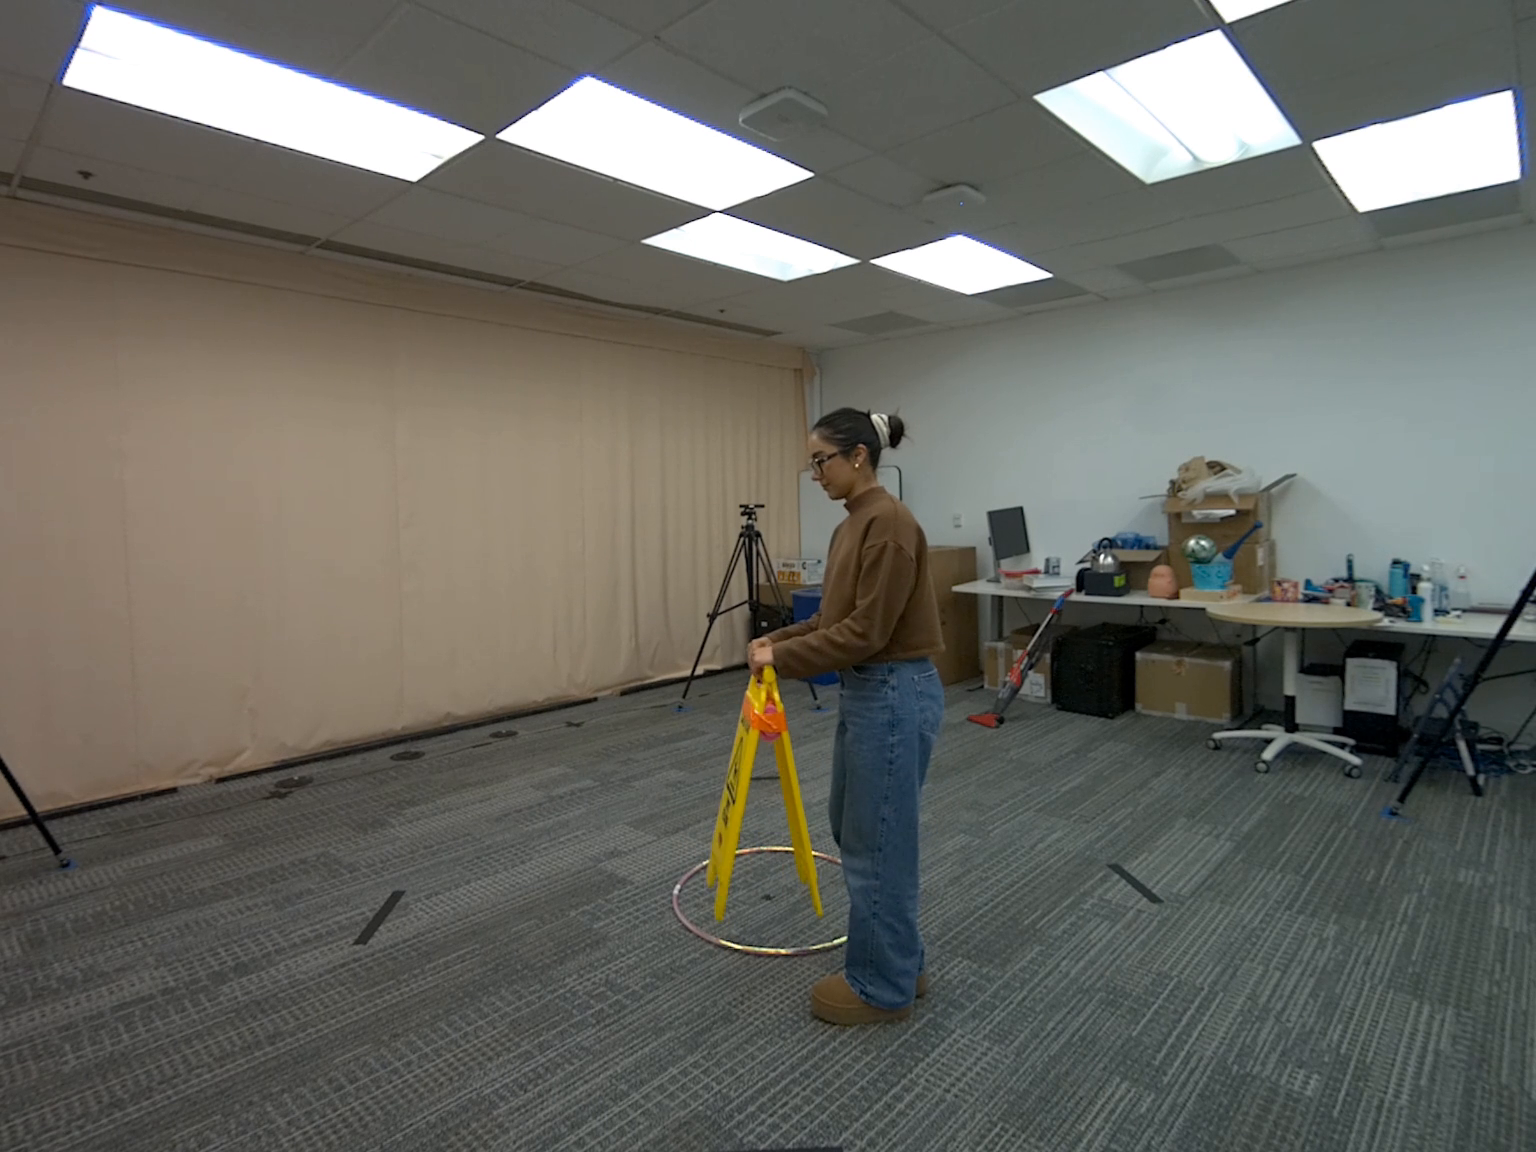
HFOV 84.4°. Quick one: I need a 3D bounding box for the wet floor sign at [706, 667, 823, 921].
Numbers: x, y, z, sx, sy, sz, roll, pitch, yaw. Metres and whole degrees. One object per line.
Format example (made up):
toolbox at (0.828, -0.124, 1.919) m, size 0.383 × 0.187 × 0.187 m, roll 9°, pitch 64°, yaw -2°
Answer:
wet floor sign at (-0.008, 0.543, 2.266) m, size 0.288 × 0.645 × 0.284 m, roll 0°, pitch 1°, yaw -7°
